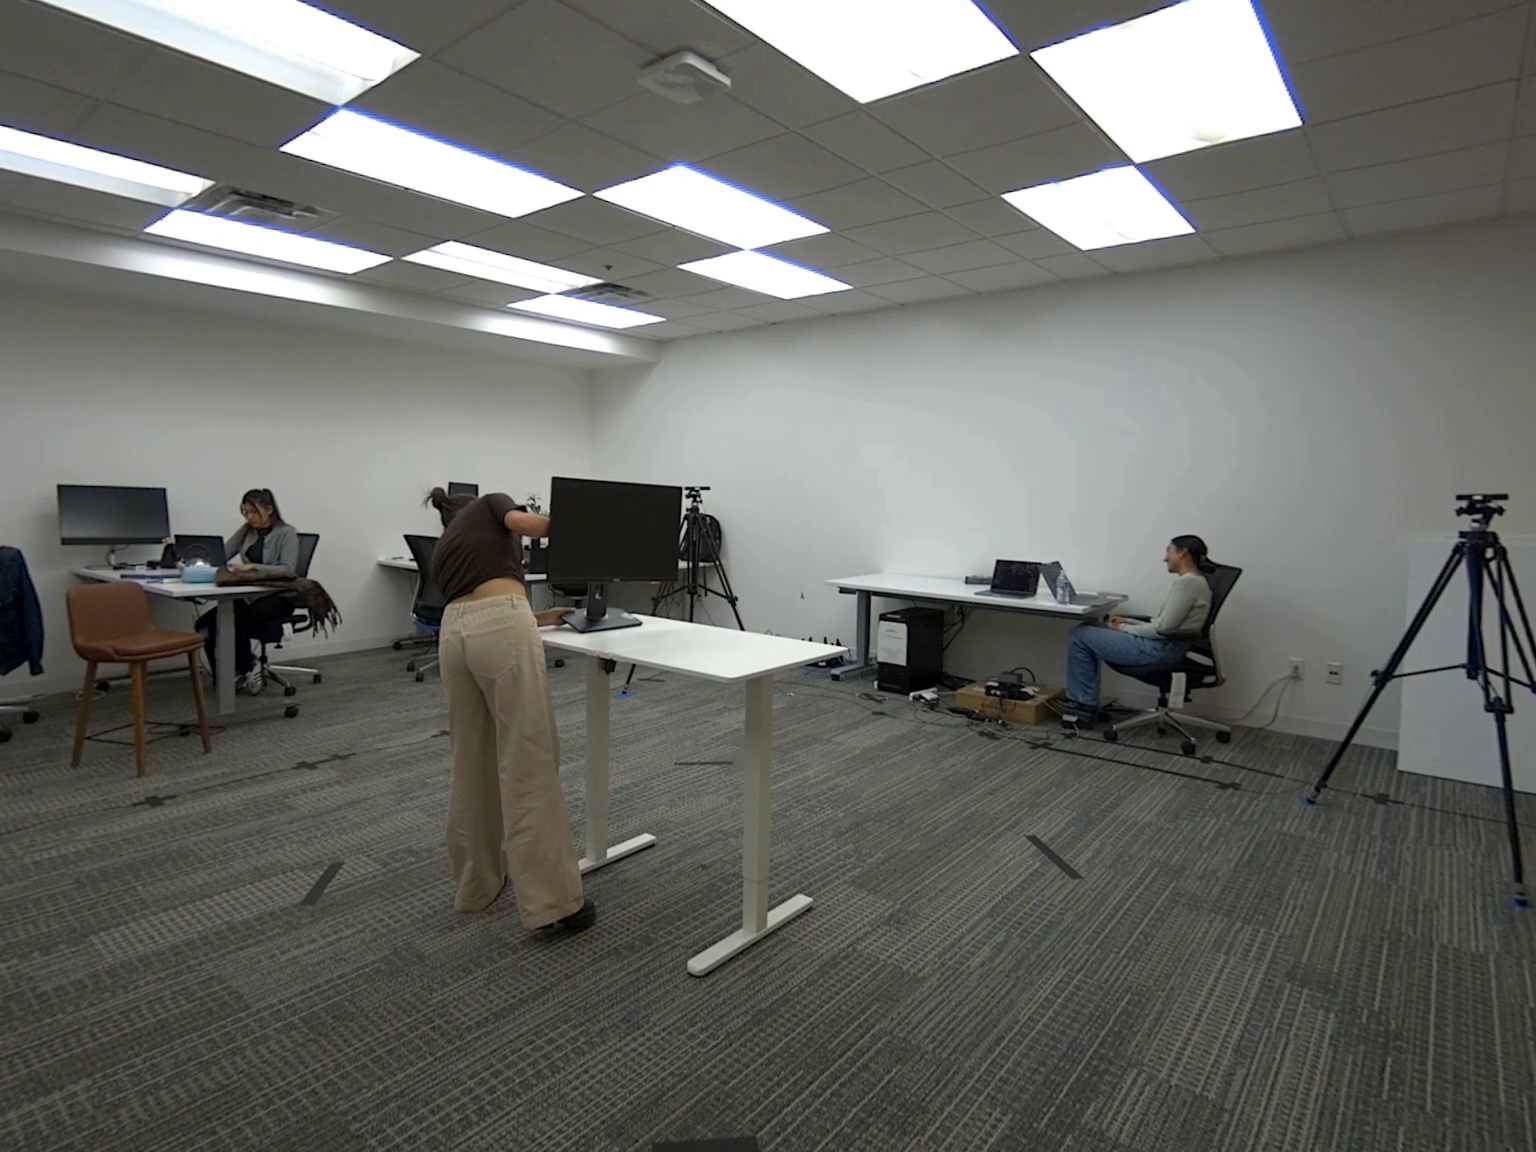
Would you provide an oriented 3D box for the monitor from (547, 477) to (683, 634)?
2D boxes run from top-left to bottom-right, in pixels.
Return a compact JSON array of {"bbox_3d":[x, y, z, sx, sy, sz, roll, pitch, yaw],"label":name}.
[{"bbox_3d":[-0.575,-0.078,3.003,0.522,0.518,0.195,1,15,-41],"label":"monitor"}]
